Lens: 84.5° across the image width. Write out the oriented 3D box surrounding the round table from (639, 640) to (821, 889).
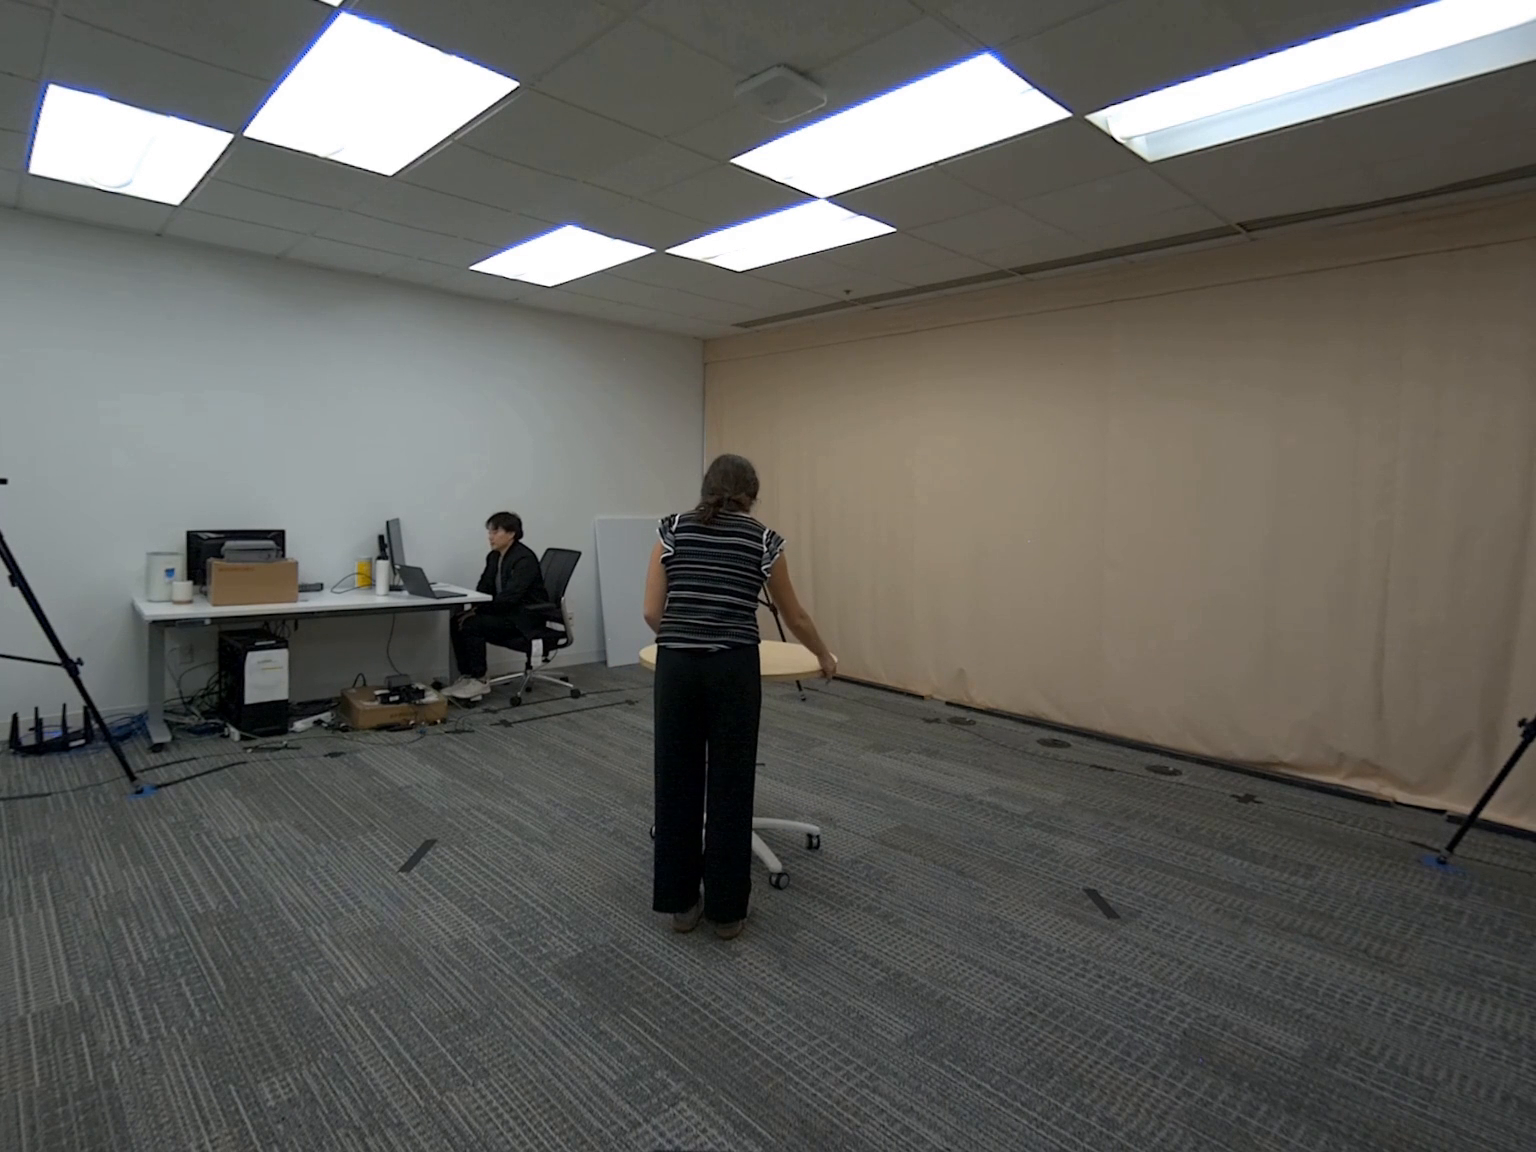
[{"bbox_3d":[-0.127,0.699,3.272,0.784,0.785,0.787,1,3,-1],"label":"round table"}]
